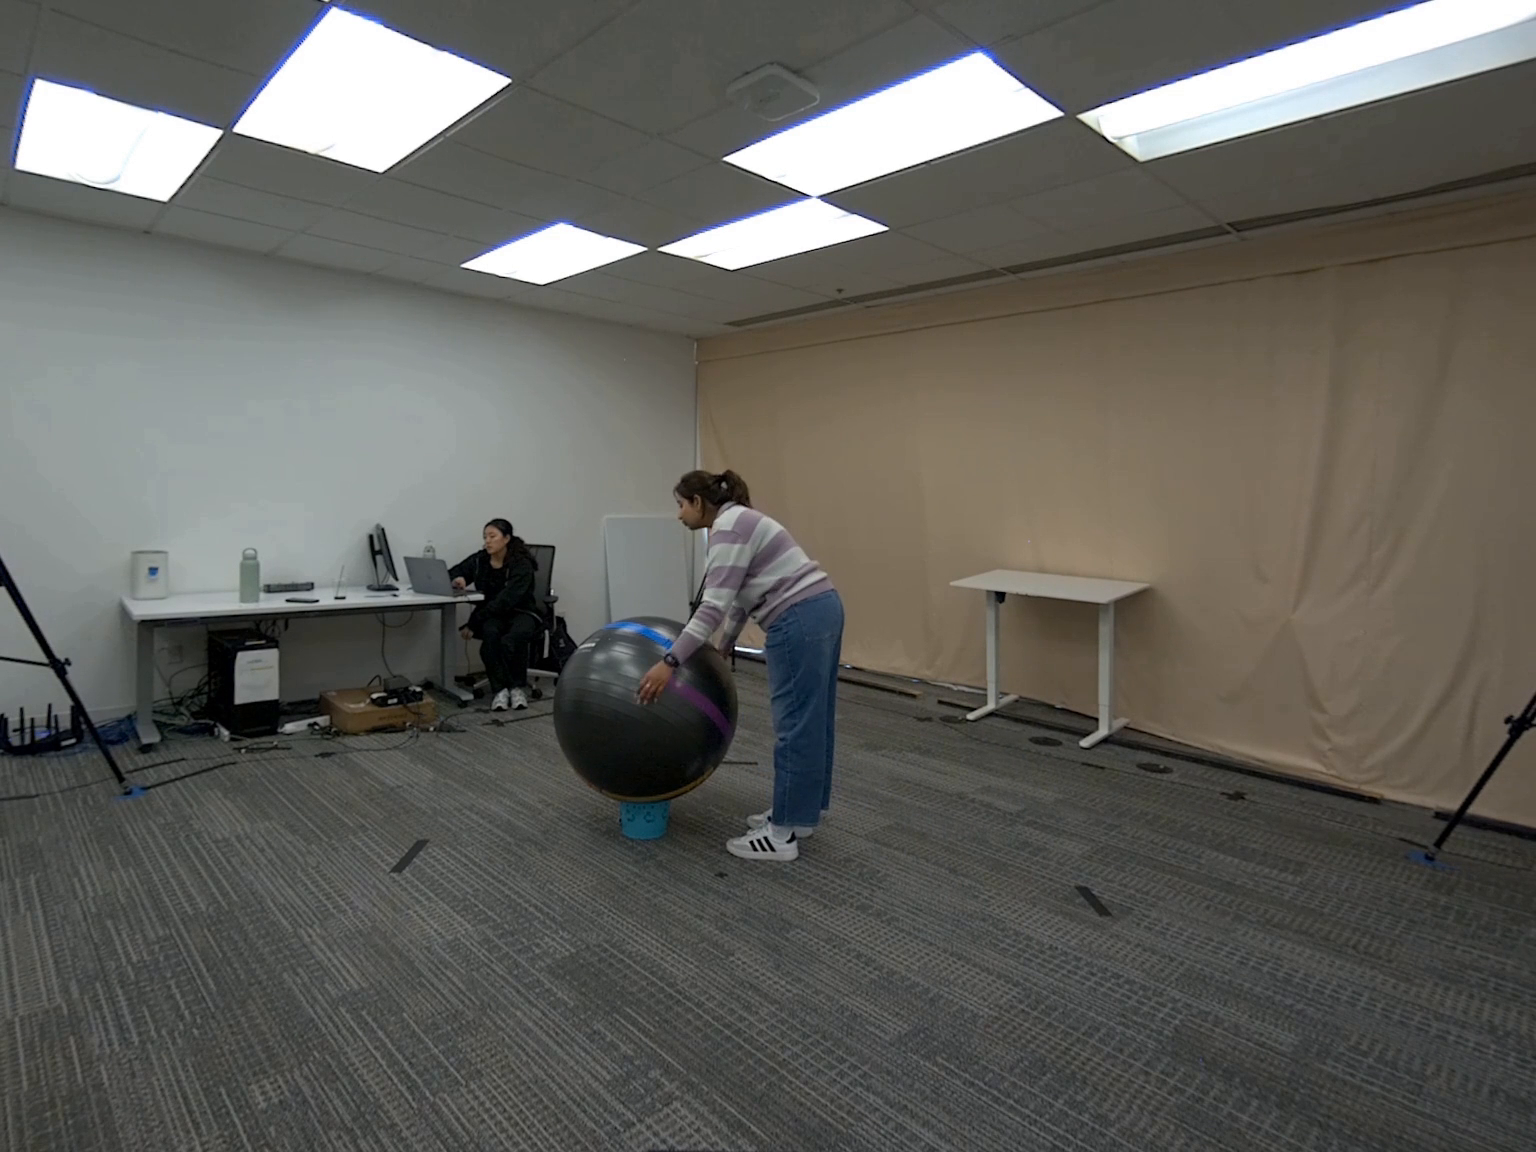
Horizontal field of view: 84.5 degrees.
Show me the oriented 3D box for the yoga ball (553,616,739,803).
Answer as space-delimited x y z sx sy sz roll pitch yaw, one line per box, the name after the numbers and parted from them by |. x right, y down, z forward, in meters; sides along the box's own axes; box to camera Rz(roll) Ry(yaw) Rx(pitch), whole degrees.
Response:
-0.518 0.550 3.503 0.757 0.756 0.761 1 4 -1 | yoga ball
